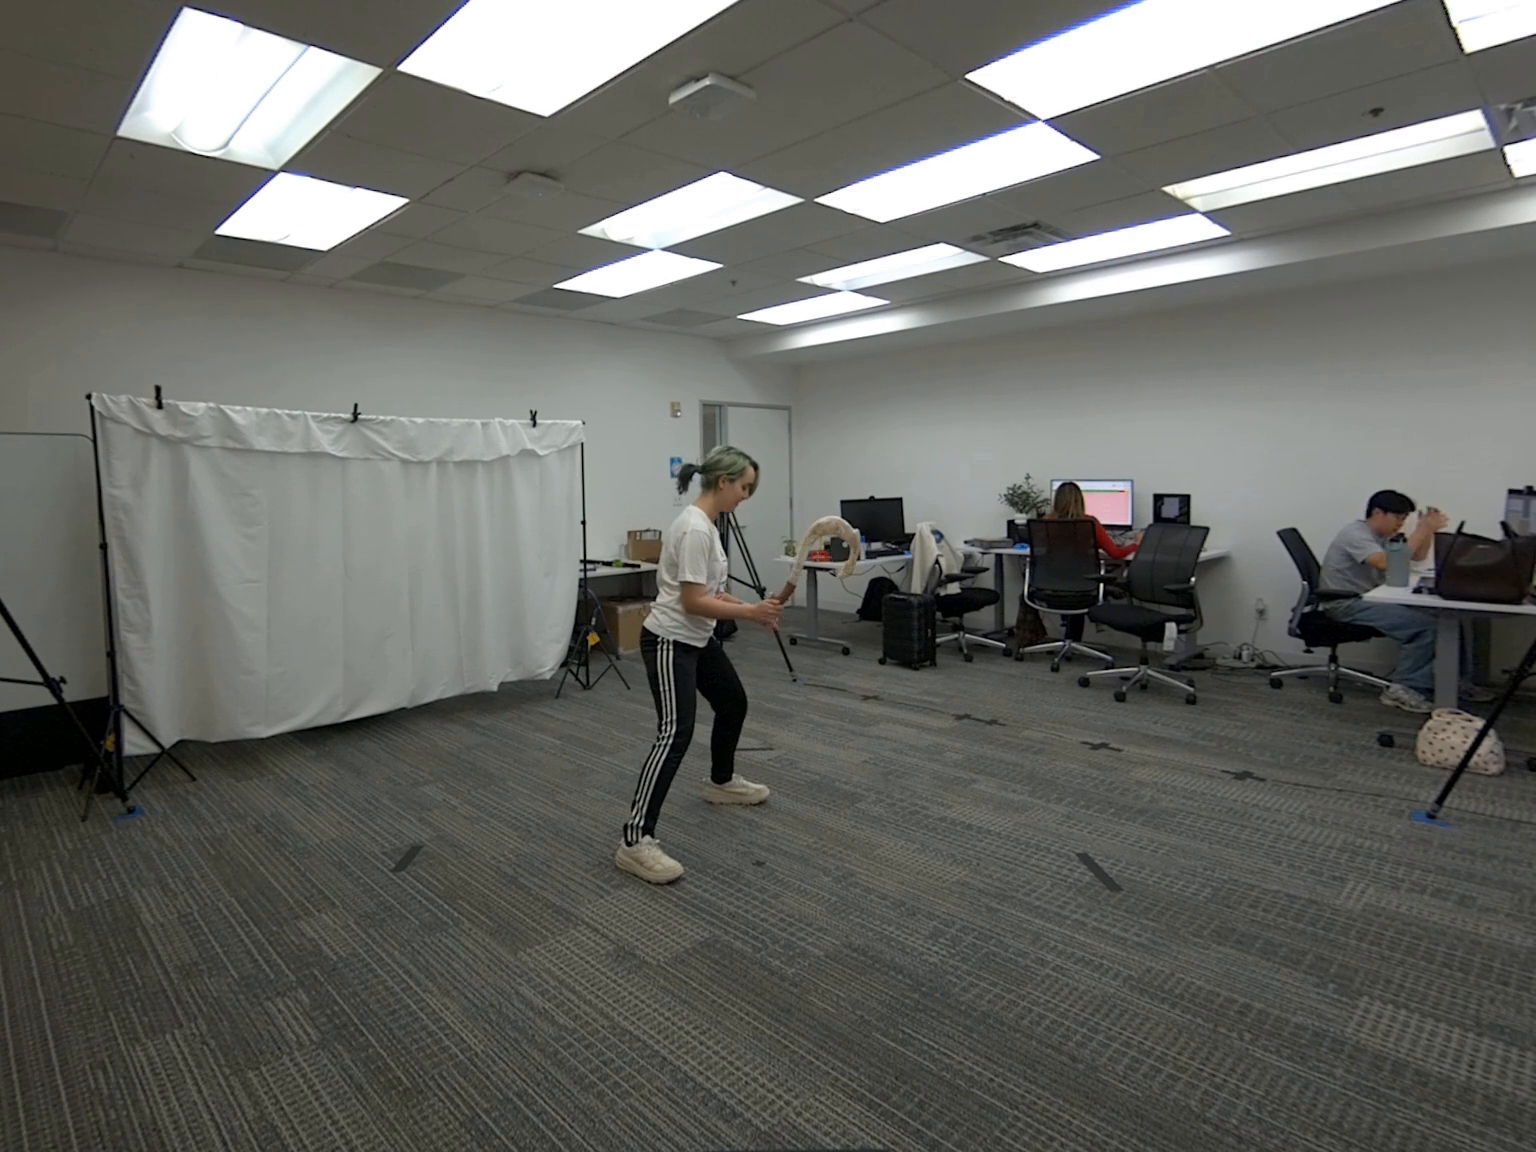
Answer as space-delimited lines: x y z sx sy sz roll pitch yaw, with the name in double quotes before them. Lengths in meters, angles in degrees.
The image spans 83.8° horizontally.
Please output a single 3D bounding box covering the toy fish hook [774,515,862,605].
"toy fish hook" 0.158 0.007 3.258 0.226 0.505 0.048 34 12 5
